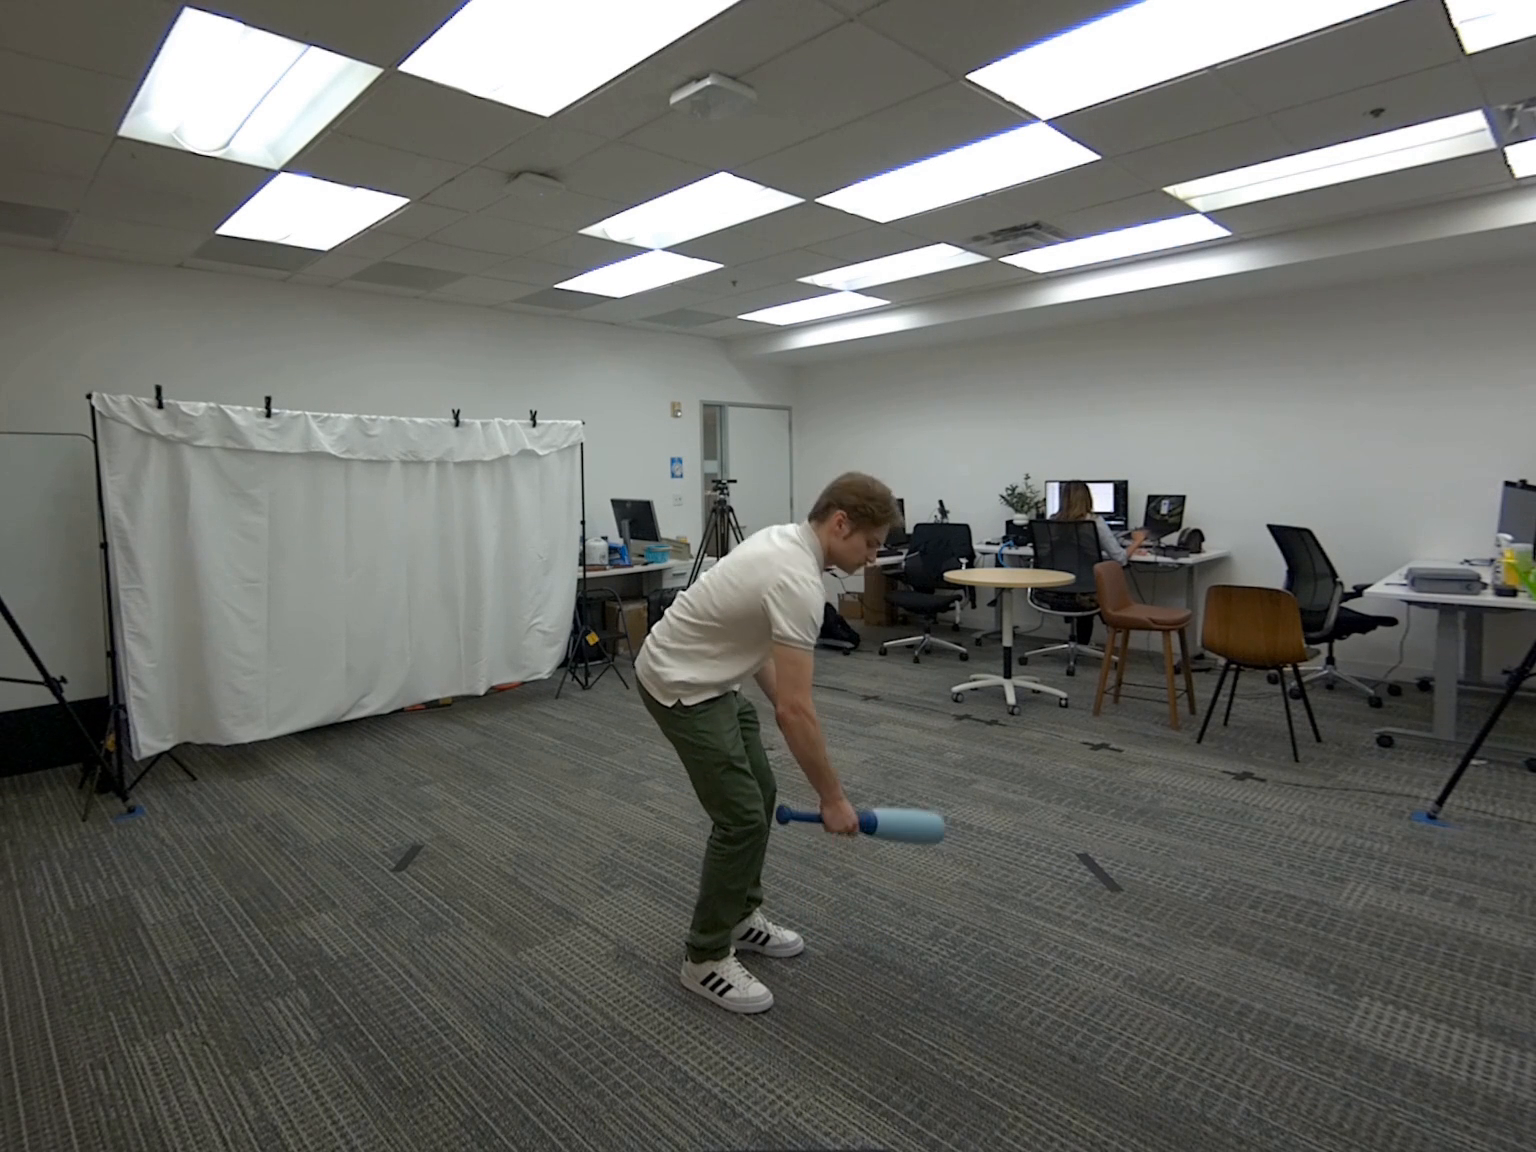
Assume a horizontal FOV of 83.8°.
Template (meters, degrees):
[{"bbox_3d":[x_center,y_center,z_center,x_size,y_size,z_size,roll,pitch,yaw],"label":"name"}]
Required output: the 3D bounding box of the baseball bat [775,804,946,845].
[{"bbox_3d":[0.251,0.635,2.265,0.527,0.089,0.091,13,-3,-28],"label":"baseball bat"}]
